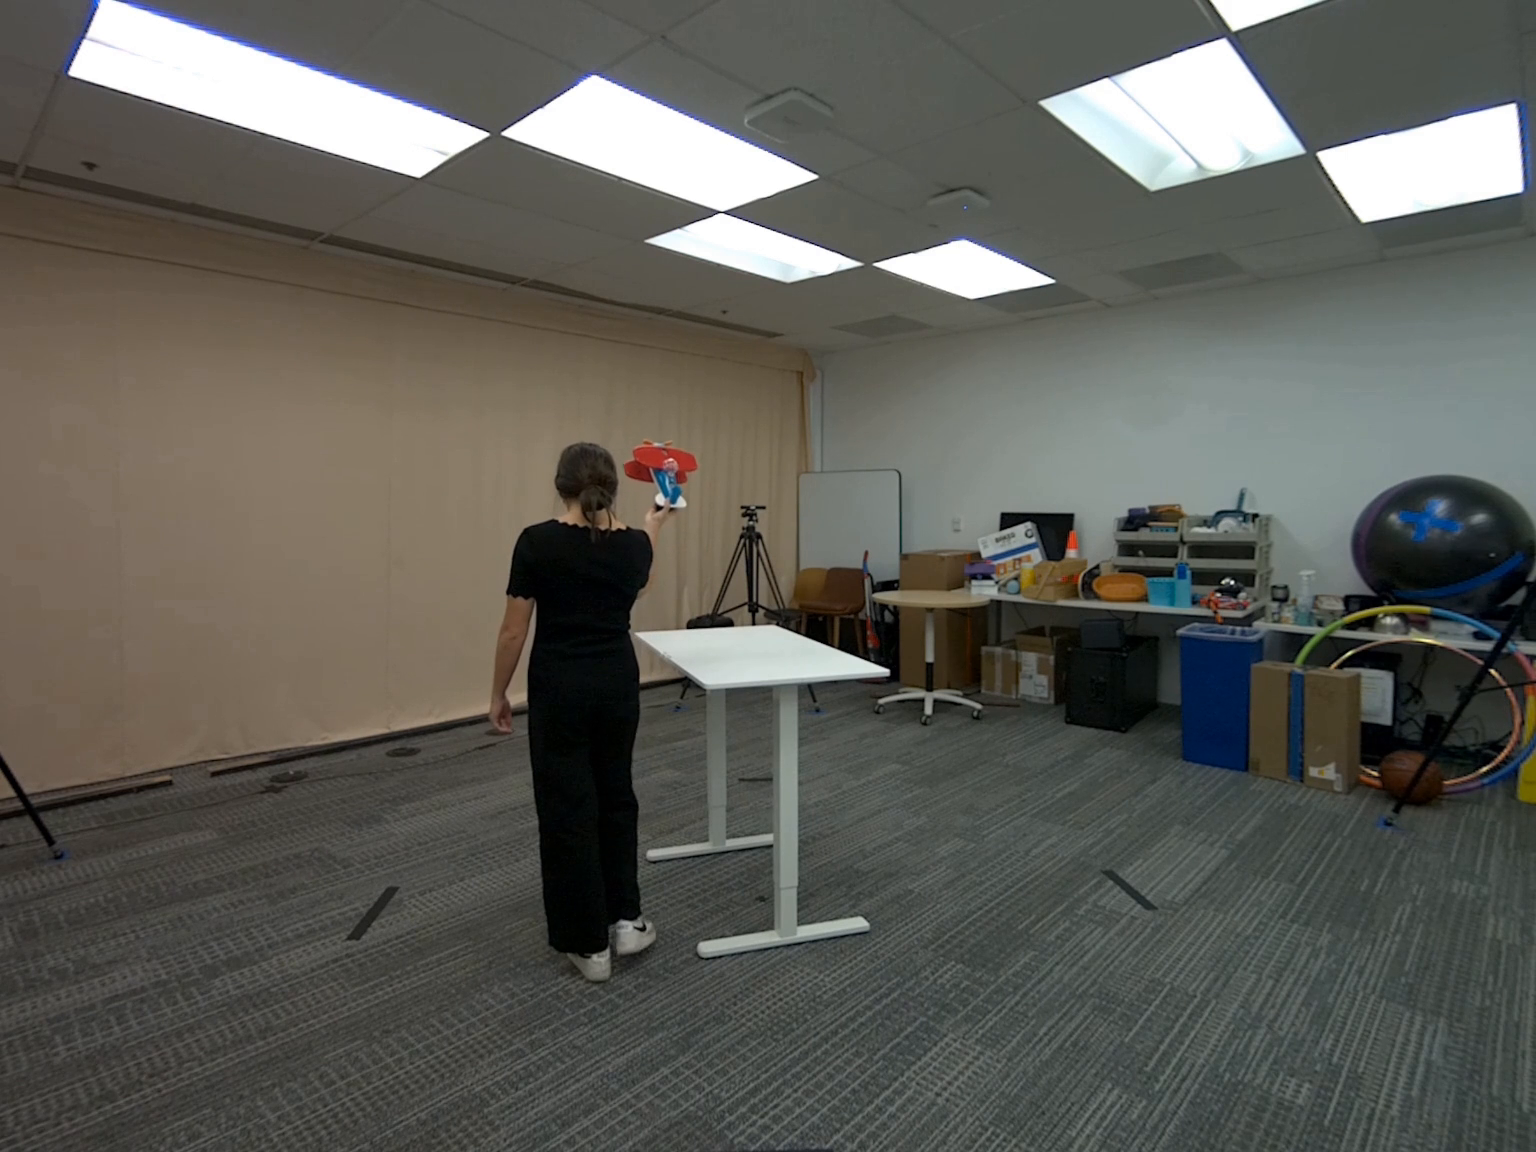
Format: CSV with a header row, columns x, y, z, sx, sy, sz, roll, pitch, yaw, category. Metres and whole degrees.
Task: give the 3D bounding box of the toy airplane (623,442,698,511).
x,y,z,sx,sy,sz,roll,pitch,yaw,category
-0.349,-0.341,2.964,0.264,0.156,0.246,40,35,14,toy airplane
